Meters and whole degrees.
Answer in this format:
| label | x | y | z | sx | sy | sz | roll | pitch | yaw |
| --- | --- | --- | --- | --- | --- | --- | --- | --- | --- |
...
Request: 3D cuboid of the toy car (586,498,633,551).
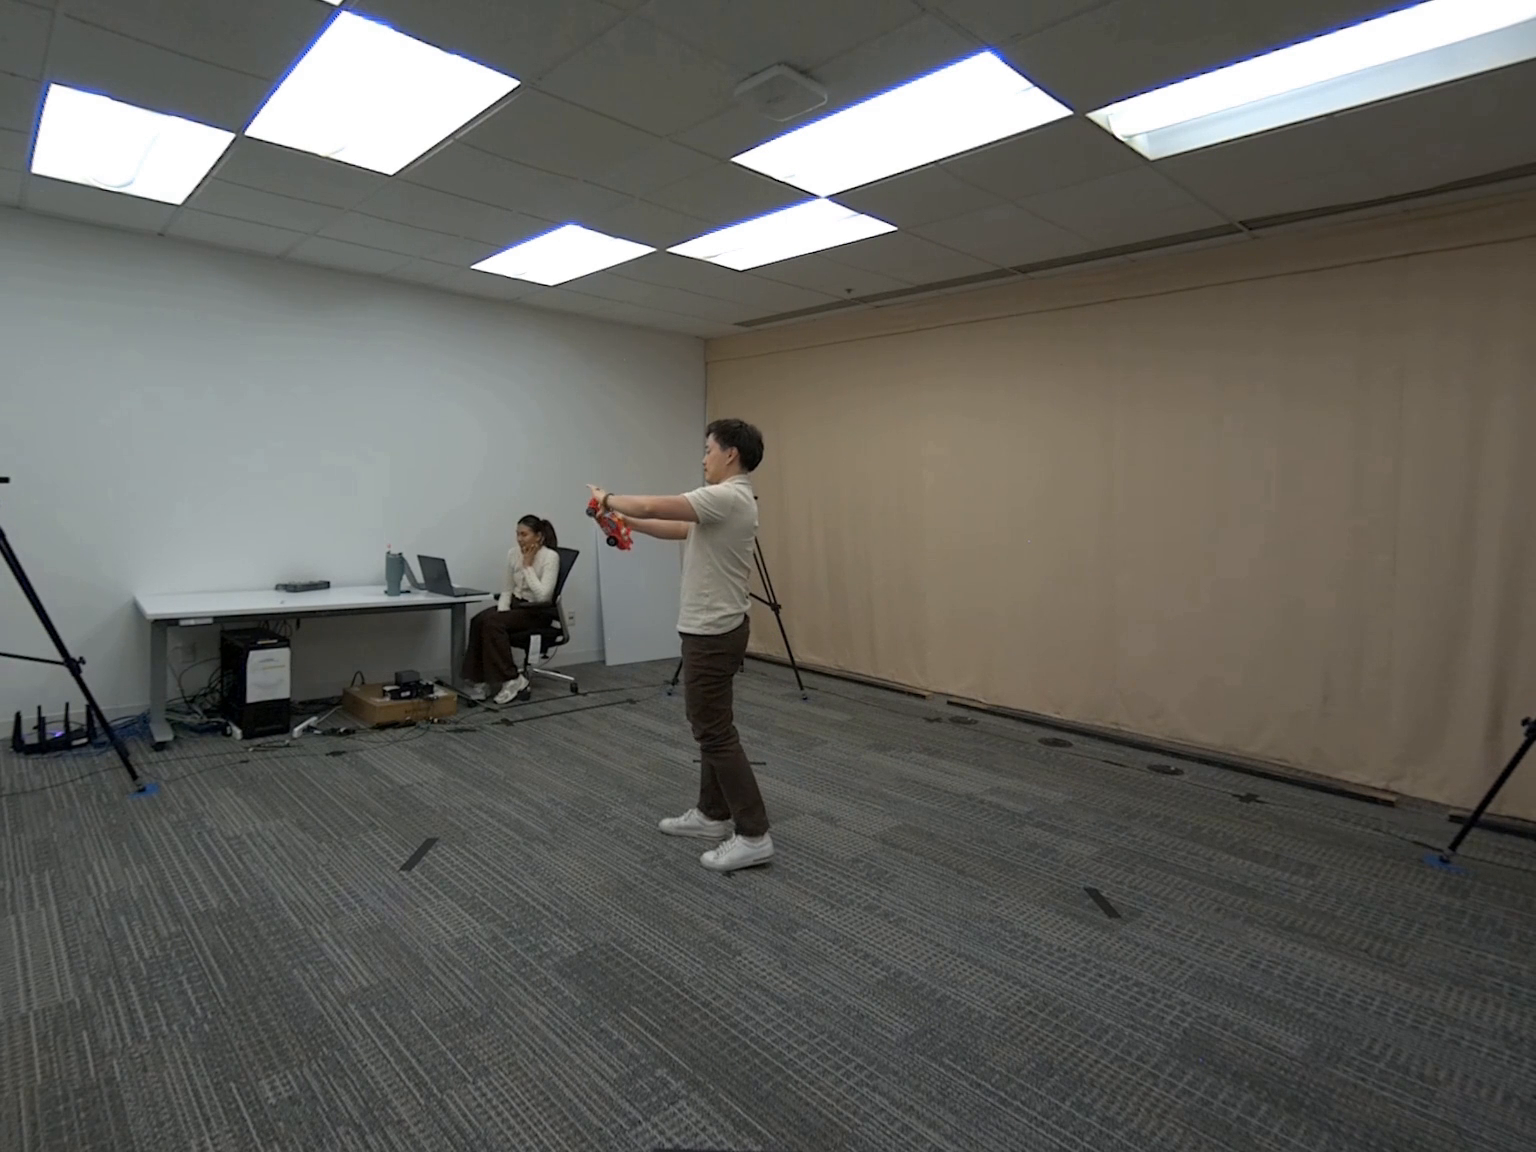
| label | x | y | z | sx | sy | sz | roll | pitch | yaw |
| --- | --- | --- | --- | --- | --- | --- | --- | --- | --- |
| toy car | -0.637 | -0.207 | 3.377 | 0.083 | 0.250 | 0.132 | -35 | 18 | 26 |
